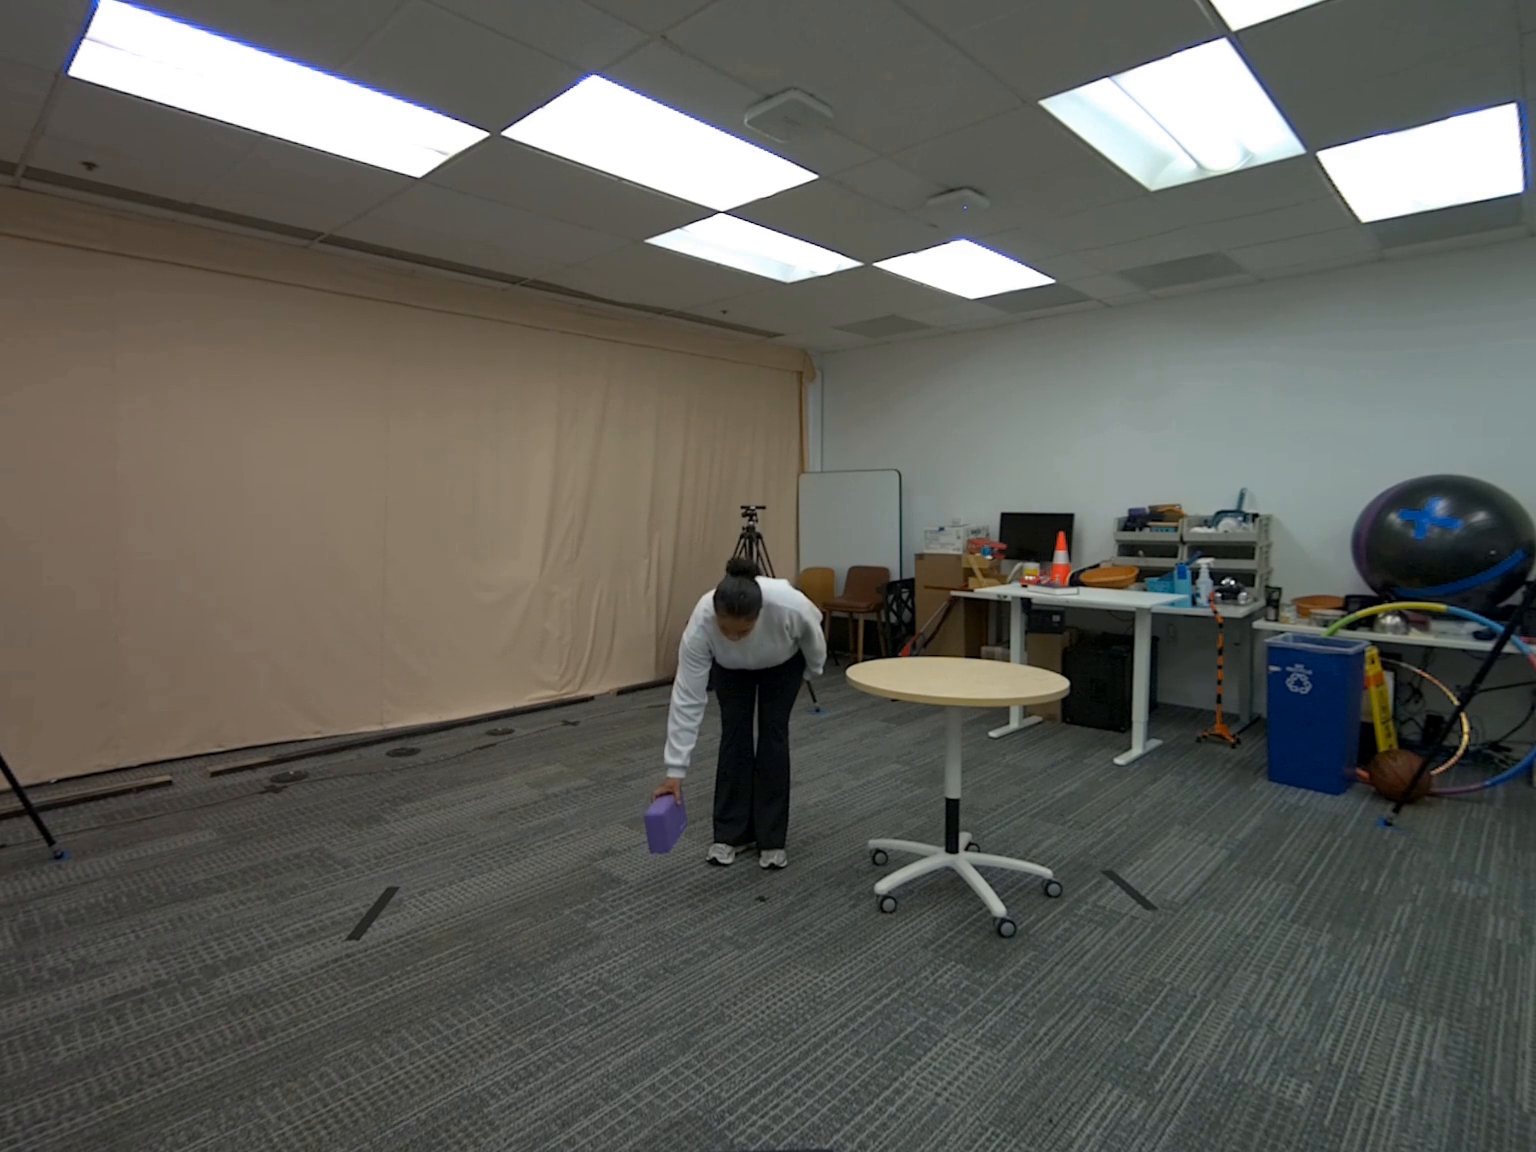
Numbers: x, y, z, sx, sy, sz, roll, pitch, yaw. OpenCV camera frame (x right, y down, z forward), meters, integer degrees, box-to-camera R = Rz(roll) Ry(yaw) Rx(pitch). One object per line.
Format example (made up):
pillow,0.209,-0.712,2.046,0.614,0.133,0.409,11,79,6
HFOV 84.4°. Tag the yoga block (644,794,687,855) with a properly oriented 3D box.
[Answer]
yoga block,-0.367,0.870,3.009,0.077,0.148,0.227,-4,4,13
